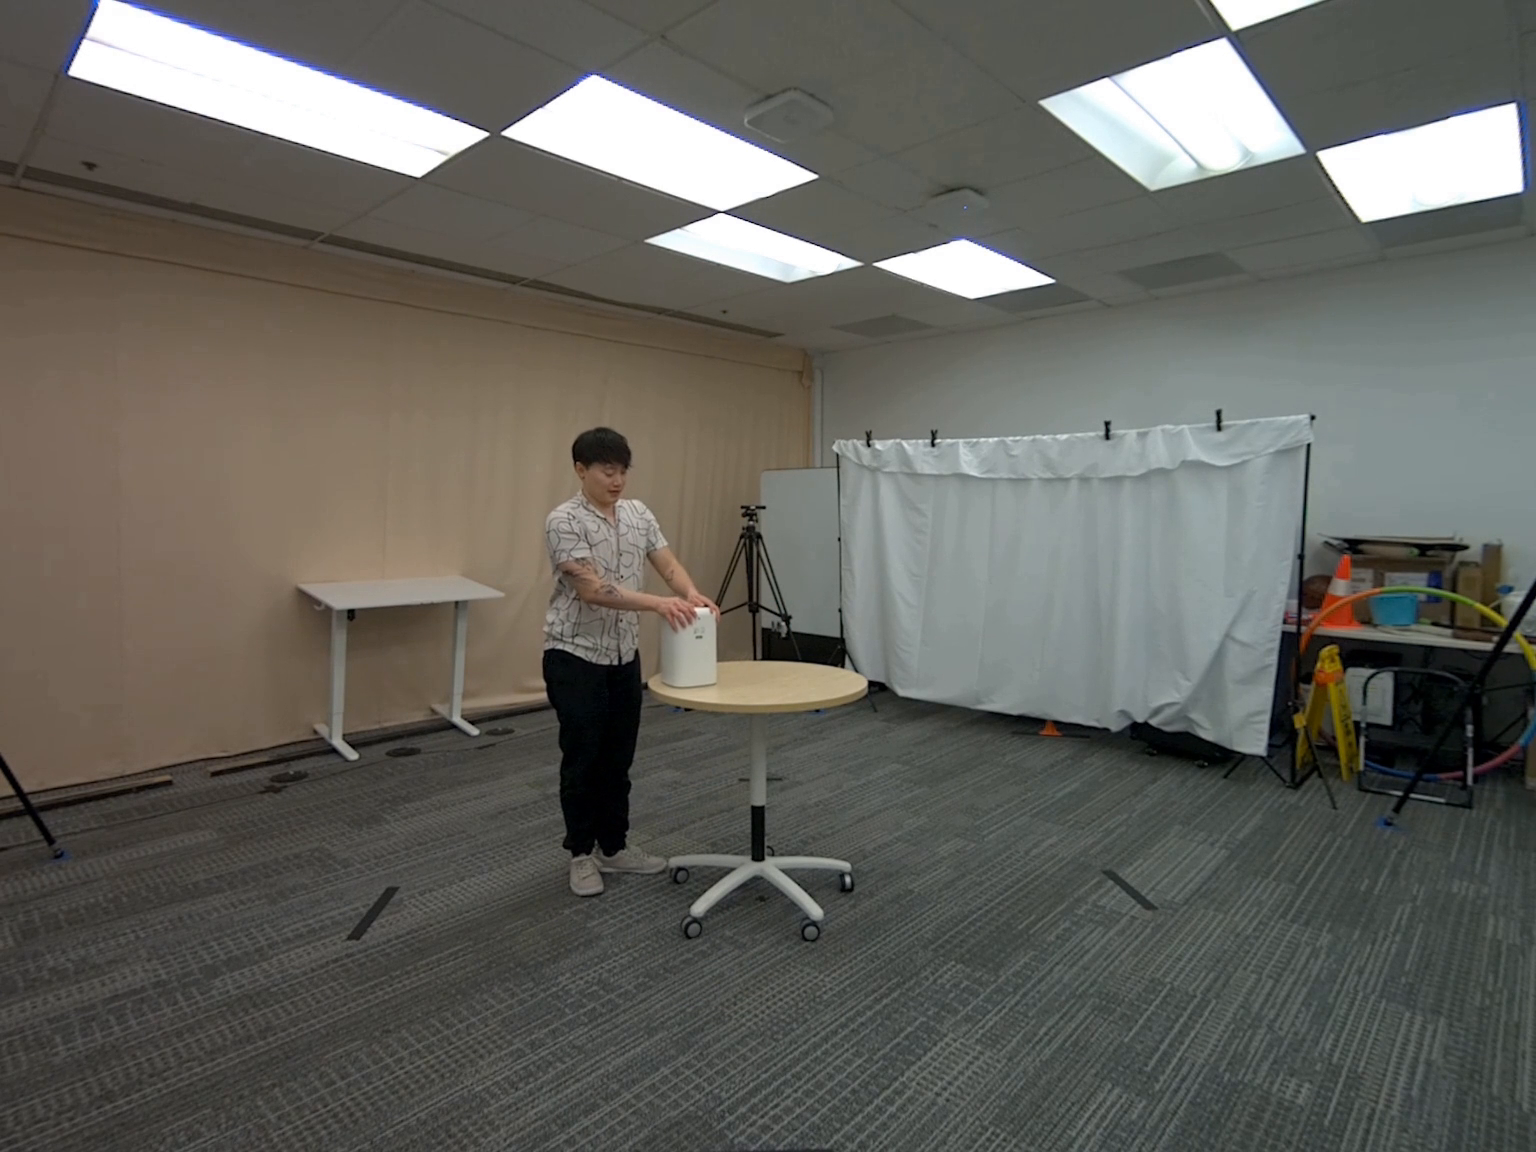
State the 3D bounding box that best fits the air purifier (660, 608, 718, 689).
[{"bbox_3d":[-0.273,0.239,2.917,0.167,0.265,0.176,-4,3,-27],"label":"air purifier"}]
